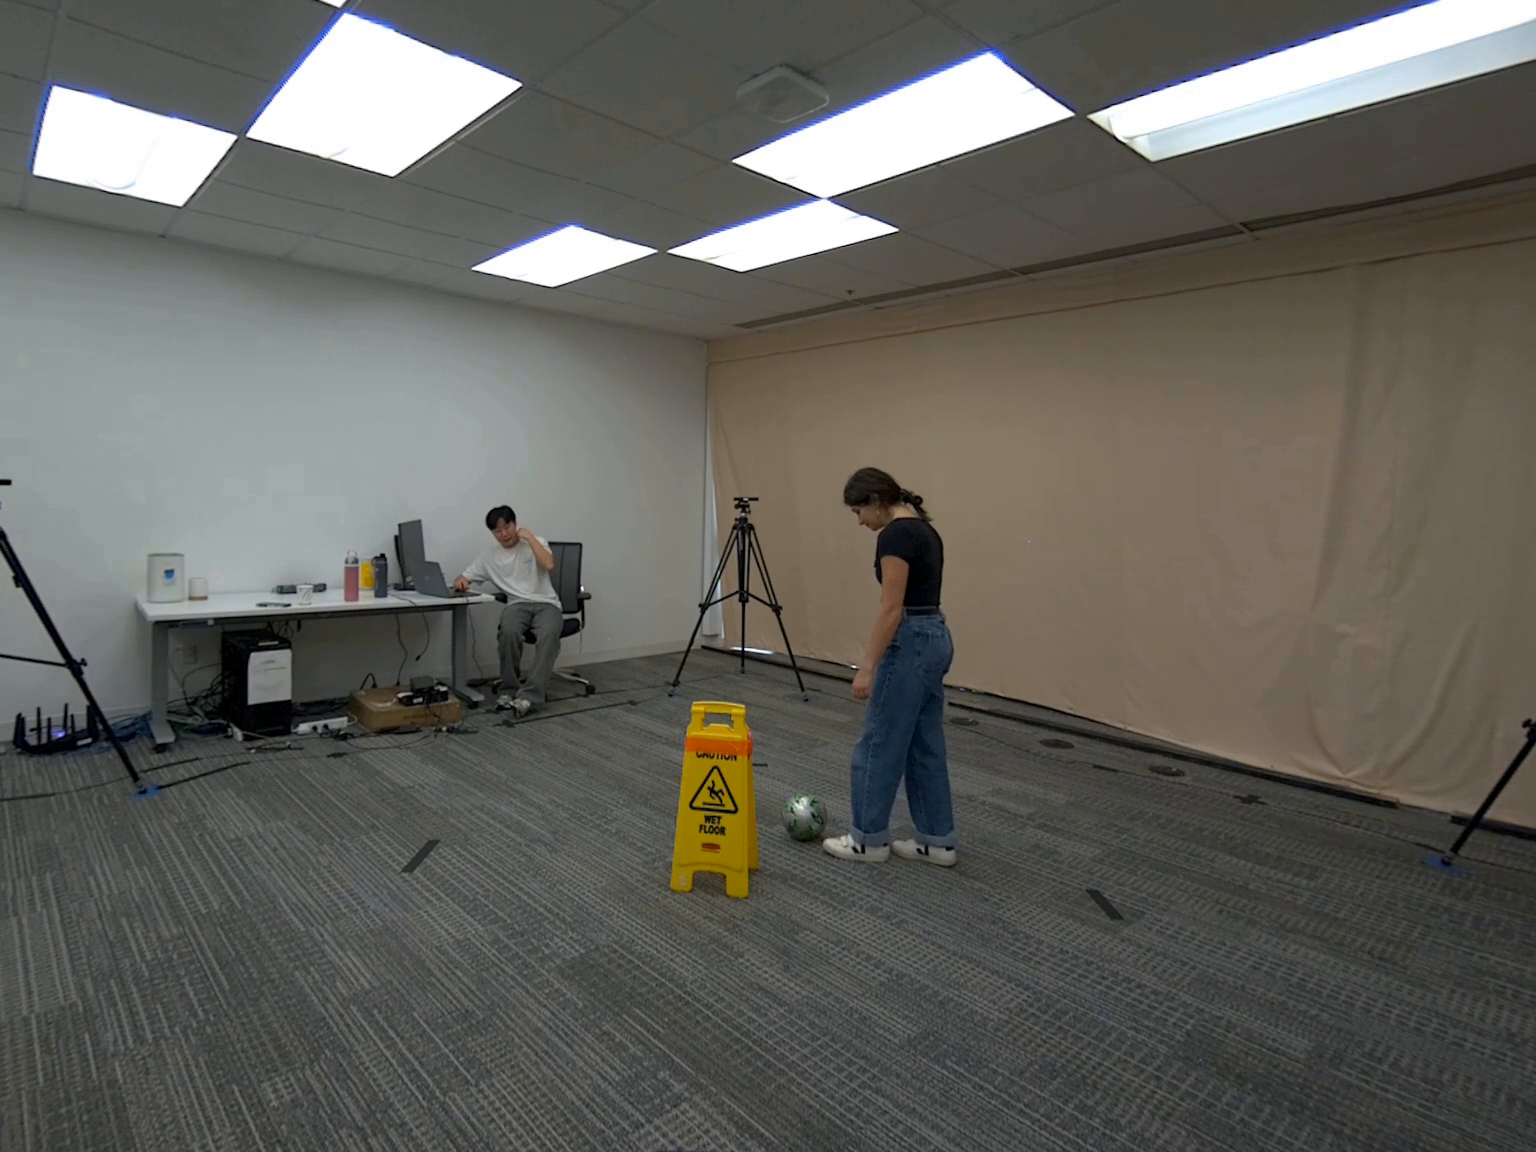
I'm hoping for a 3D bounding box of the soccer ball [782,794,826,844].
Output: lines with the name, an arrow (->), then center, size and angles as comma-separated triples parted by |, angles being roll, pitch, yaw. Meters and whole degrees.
soccer ball -> 0.144, 0.983, 3.465 | 0.187, 0.187, 0.188 | 1, 4, -1
